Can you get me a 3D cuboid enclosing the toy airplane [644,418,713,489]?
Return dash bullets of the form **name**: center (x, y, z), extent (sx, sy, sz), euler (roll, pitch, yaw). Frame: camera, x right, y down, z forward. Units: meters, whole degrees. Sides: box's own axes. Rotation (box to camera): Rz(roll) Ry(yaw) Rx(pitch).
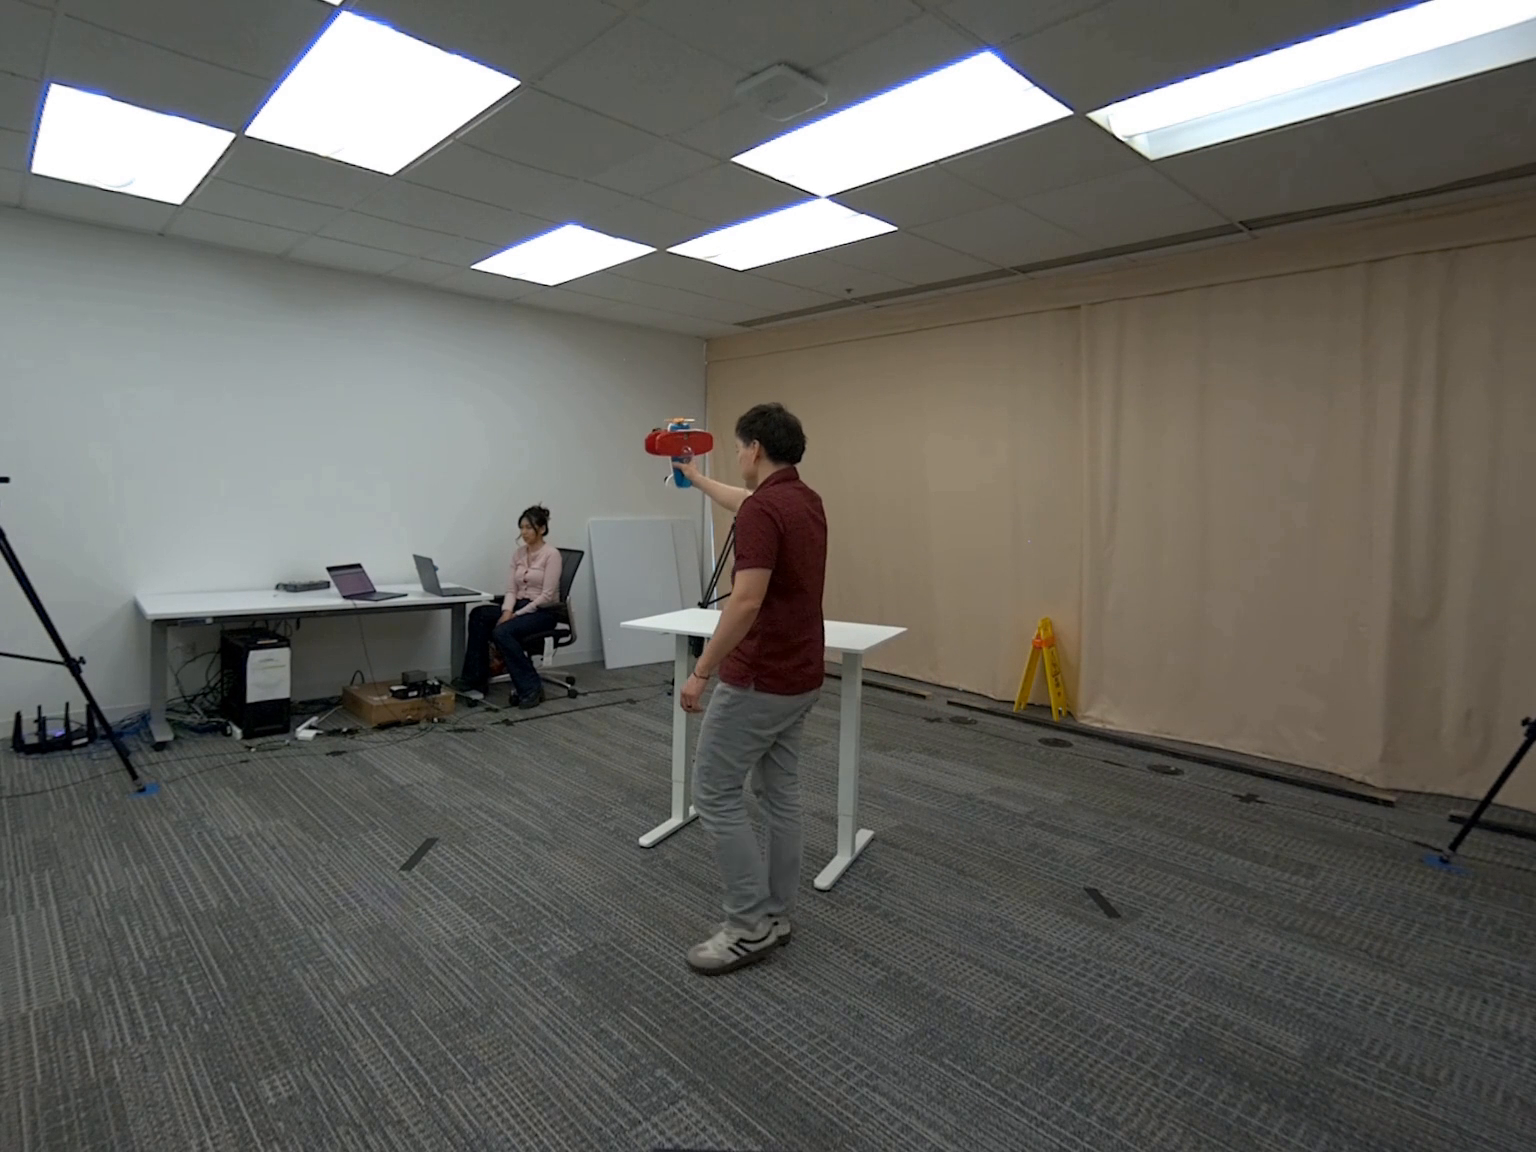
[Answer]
- **toy airplane**: center (-0.328, -0.462, 3.172), extent (0.250, 0.255, 0.159), euler (-43, 20, -33)
